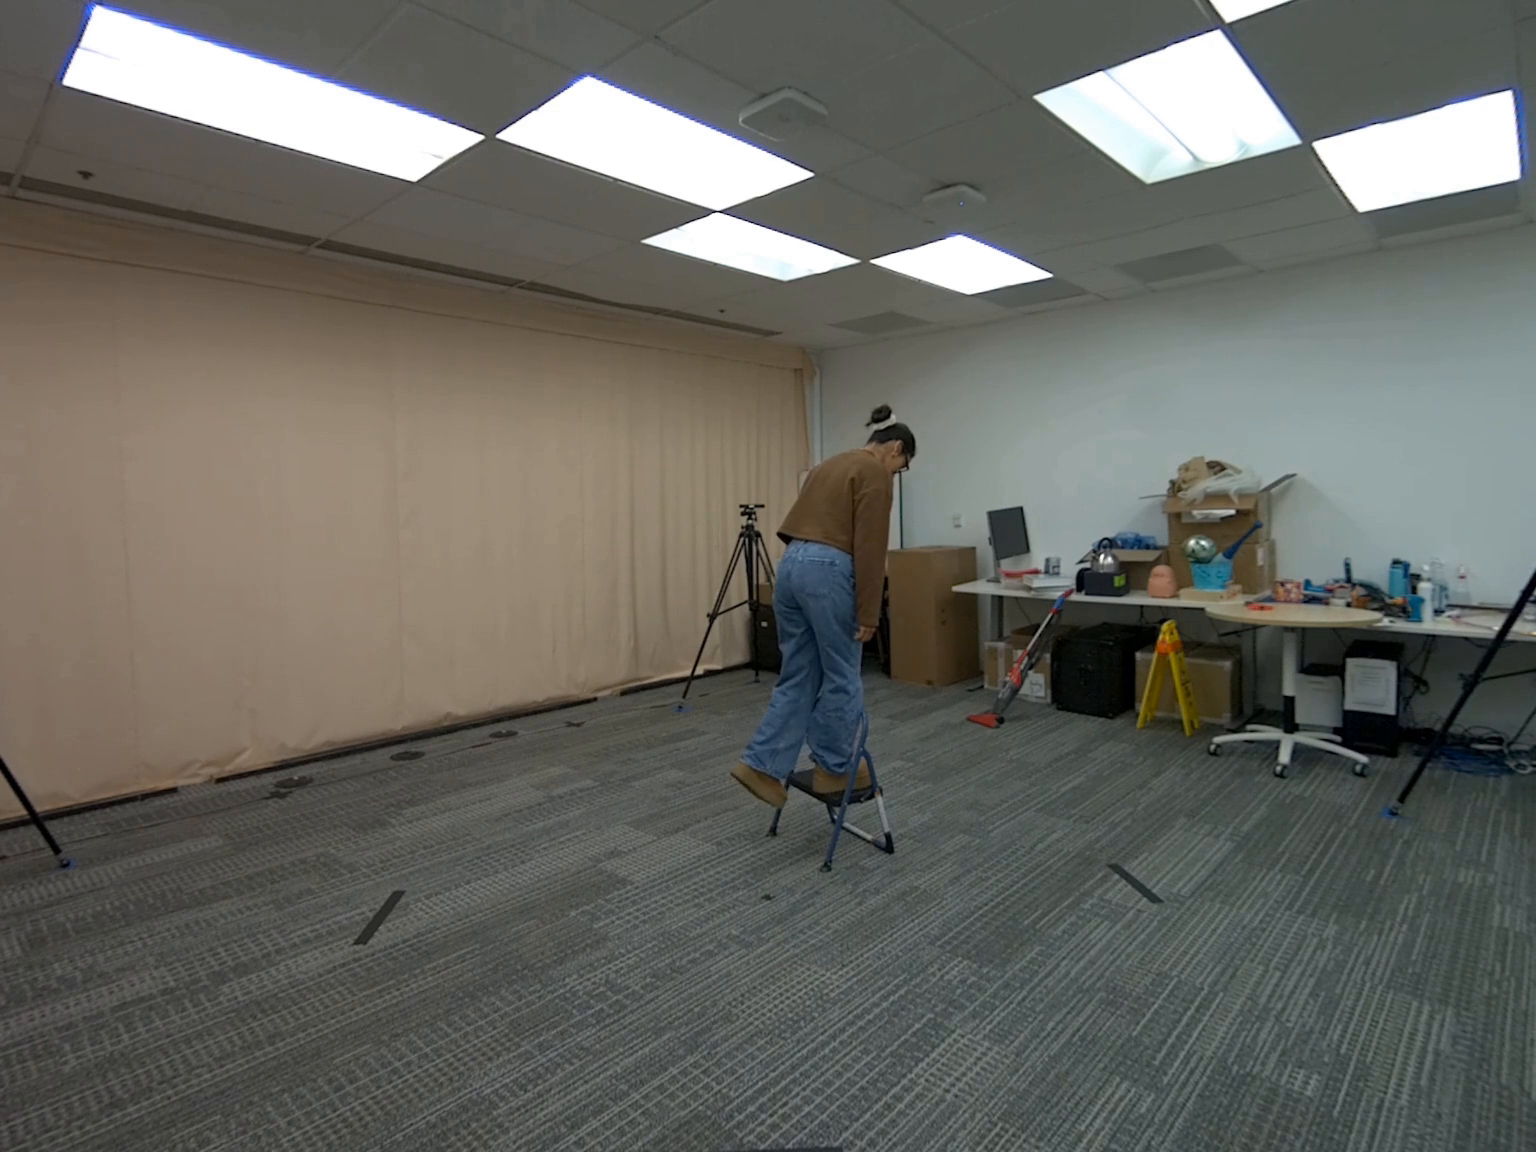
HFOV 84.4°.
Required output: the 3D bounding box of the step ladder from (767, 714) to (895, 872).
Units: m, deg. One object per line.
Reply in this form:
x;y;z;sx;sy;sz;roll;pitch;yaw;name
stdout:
0.251;0.794;3.429;0.340;0.605;0.443;-2;3;-30;step ladder
